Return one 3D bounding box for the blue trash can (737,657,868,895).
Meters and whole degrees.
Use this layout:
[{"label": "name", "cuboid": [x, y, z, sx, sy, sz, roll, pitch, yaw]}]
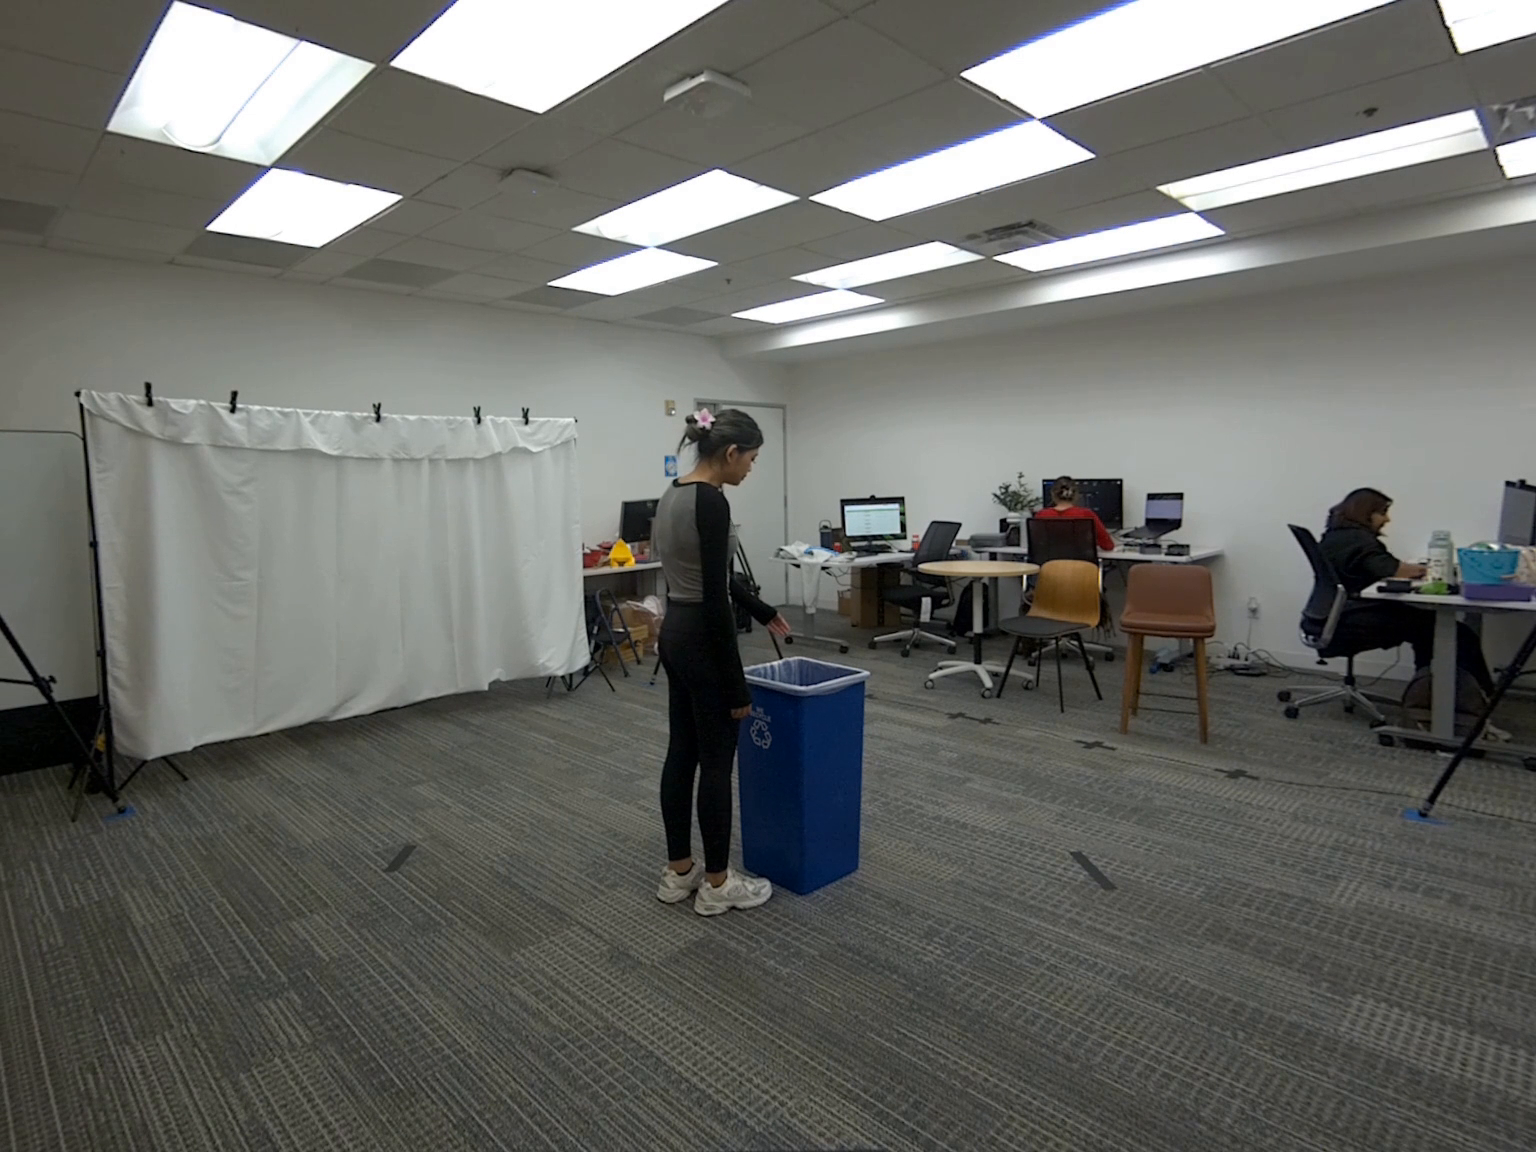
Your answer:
[{"label": "blue trash can", "cuboid": [0.125, 0.691, 3.033, 0.368, 0.711, 0.385, -5, 6, -43]}]
